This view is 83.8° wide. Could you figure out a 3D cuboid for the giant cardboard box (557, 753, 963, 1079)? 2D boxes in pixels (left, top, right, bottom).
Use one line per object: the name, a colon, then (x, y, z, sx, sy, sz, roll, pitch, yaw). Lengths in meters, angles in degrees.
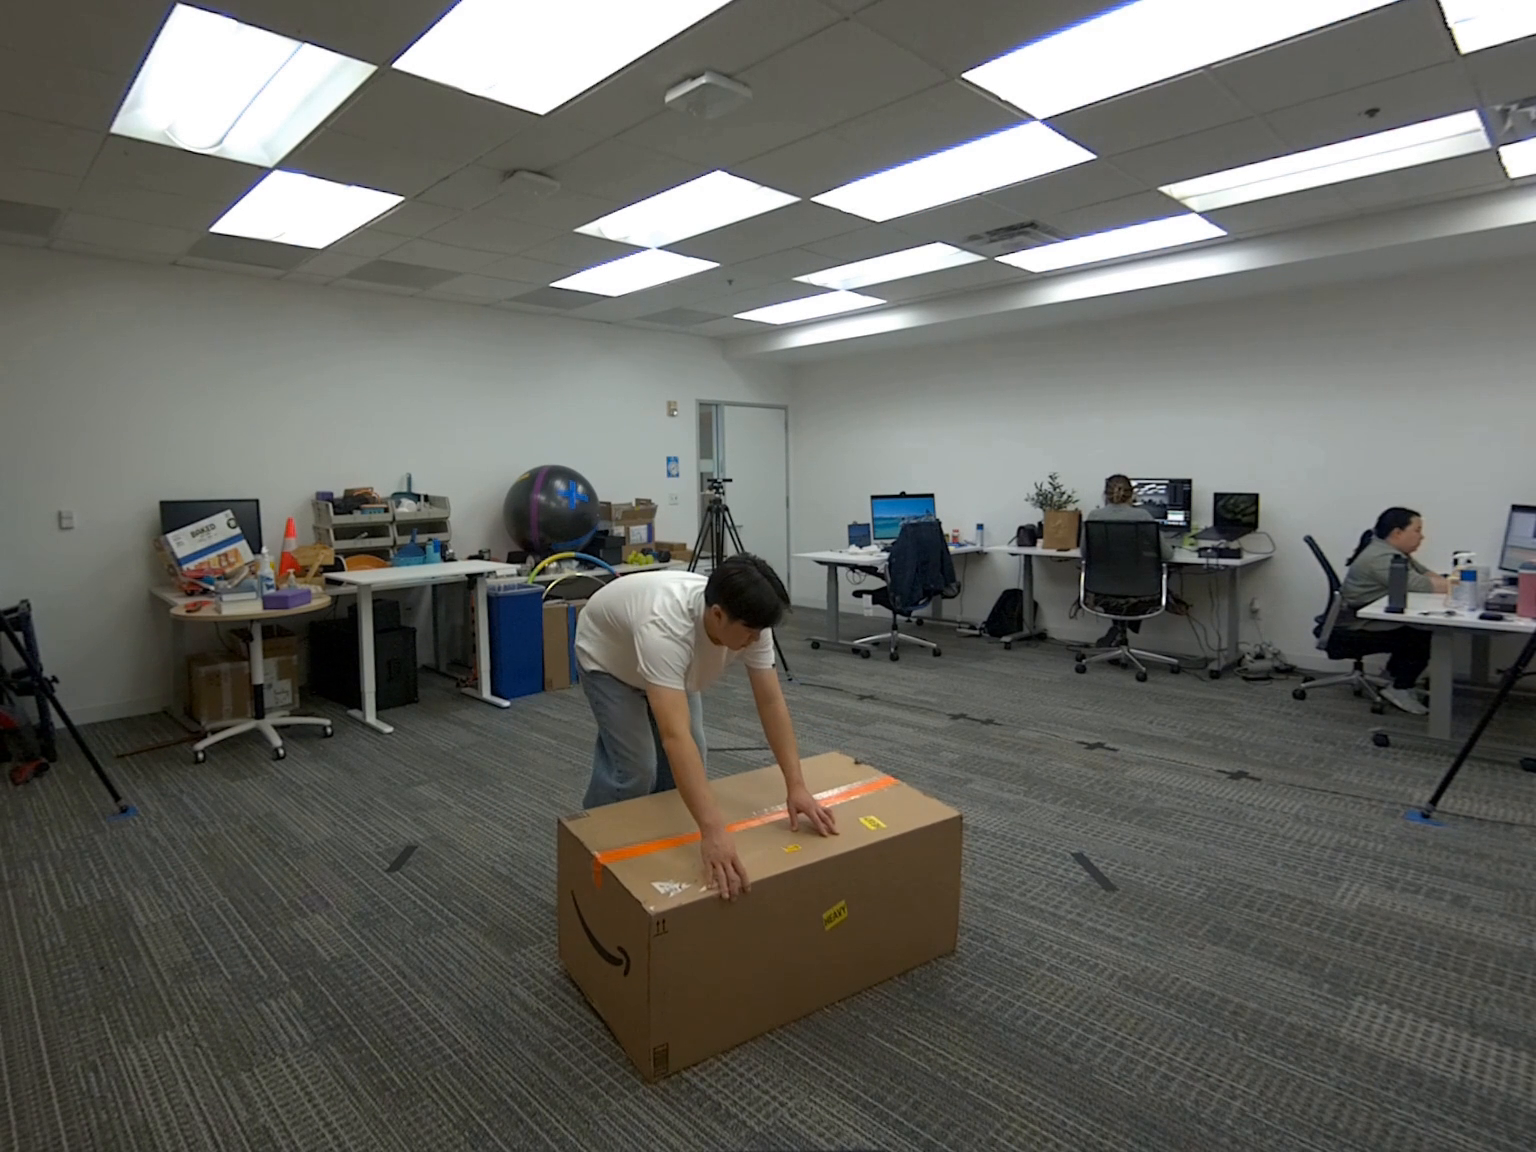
giant cardboard box: (-0.017, 0.891, 2.463, 1.001, 0.423, 0.596, -5, 11, -33)
